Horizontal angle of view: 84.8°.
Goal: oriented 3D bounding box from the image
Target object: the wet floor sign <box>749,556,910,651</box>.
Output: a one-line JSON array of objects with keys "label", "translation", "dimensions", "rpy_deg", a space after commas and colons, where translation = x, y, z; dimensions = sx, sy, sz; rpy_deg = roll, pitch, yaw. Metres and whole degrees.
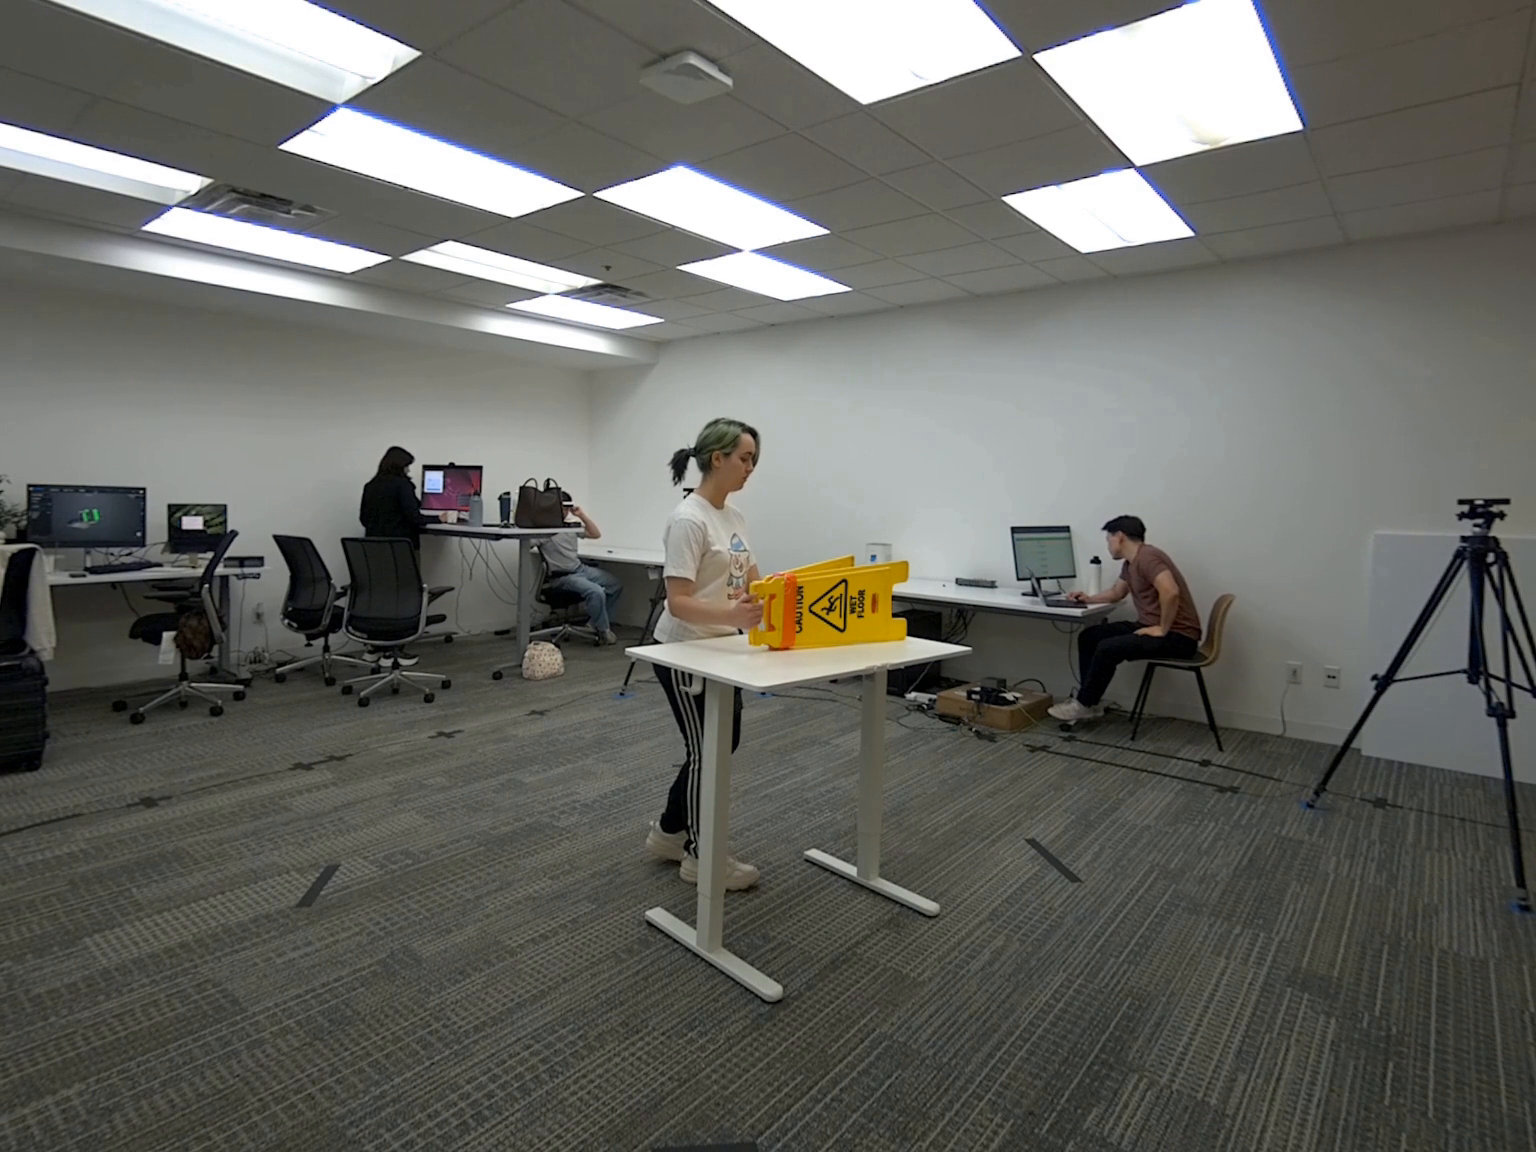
[{"label": "wet floor sign", "translation": [0.163, 0.098, 2.826], "dimensions": [0.627, 0.281, 0.300], "rpy_deg": [-6, 9, -44]}]
